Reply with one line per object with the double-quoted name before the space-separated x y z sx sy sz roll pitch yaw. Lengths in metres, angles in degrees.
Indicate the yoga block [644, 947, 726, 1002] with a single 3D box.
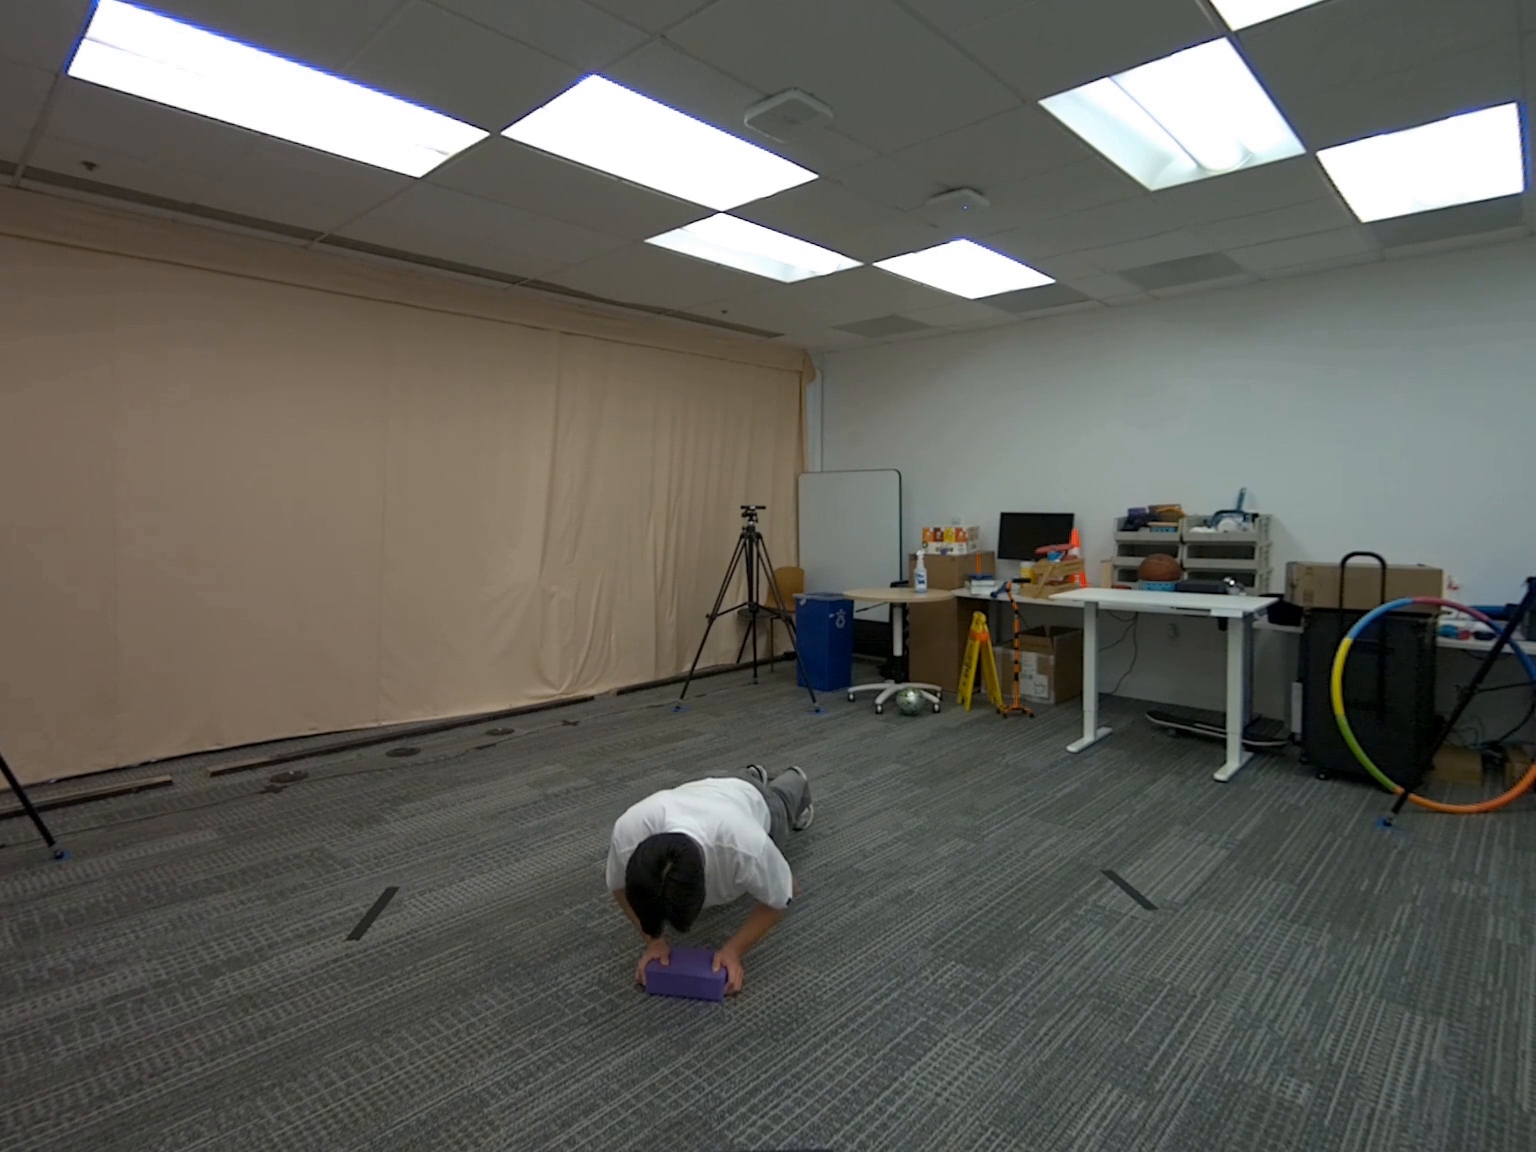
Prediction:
"yoga block" -0.226 1.154 2.456 0.232 0.076 0.147 0 5 12
